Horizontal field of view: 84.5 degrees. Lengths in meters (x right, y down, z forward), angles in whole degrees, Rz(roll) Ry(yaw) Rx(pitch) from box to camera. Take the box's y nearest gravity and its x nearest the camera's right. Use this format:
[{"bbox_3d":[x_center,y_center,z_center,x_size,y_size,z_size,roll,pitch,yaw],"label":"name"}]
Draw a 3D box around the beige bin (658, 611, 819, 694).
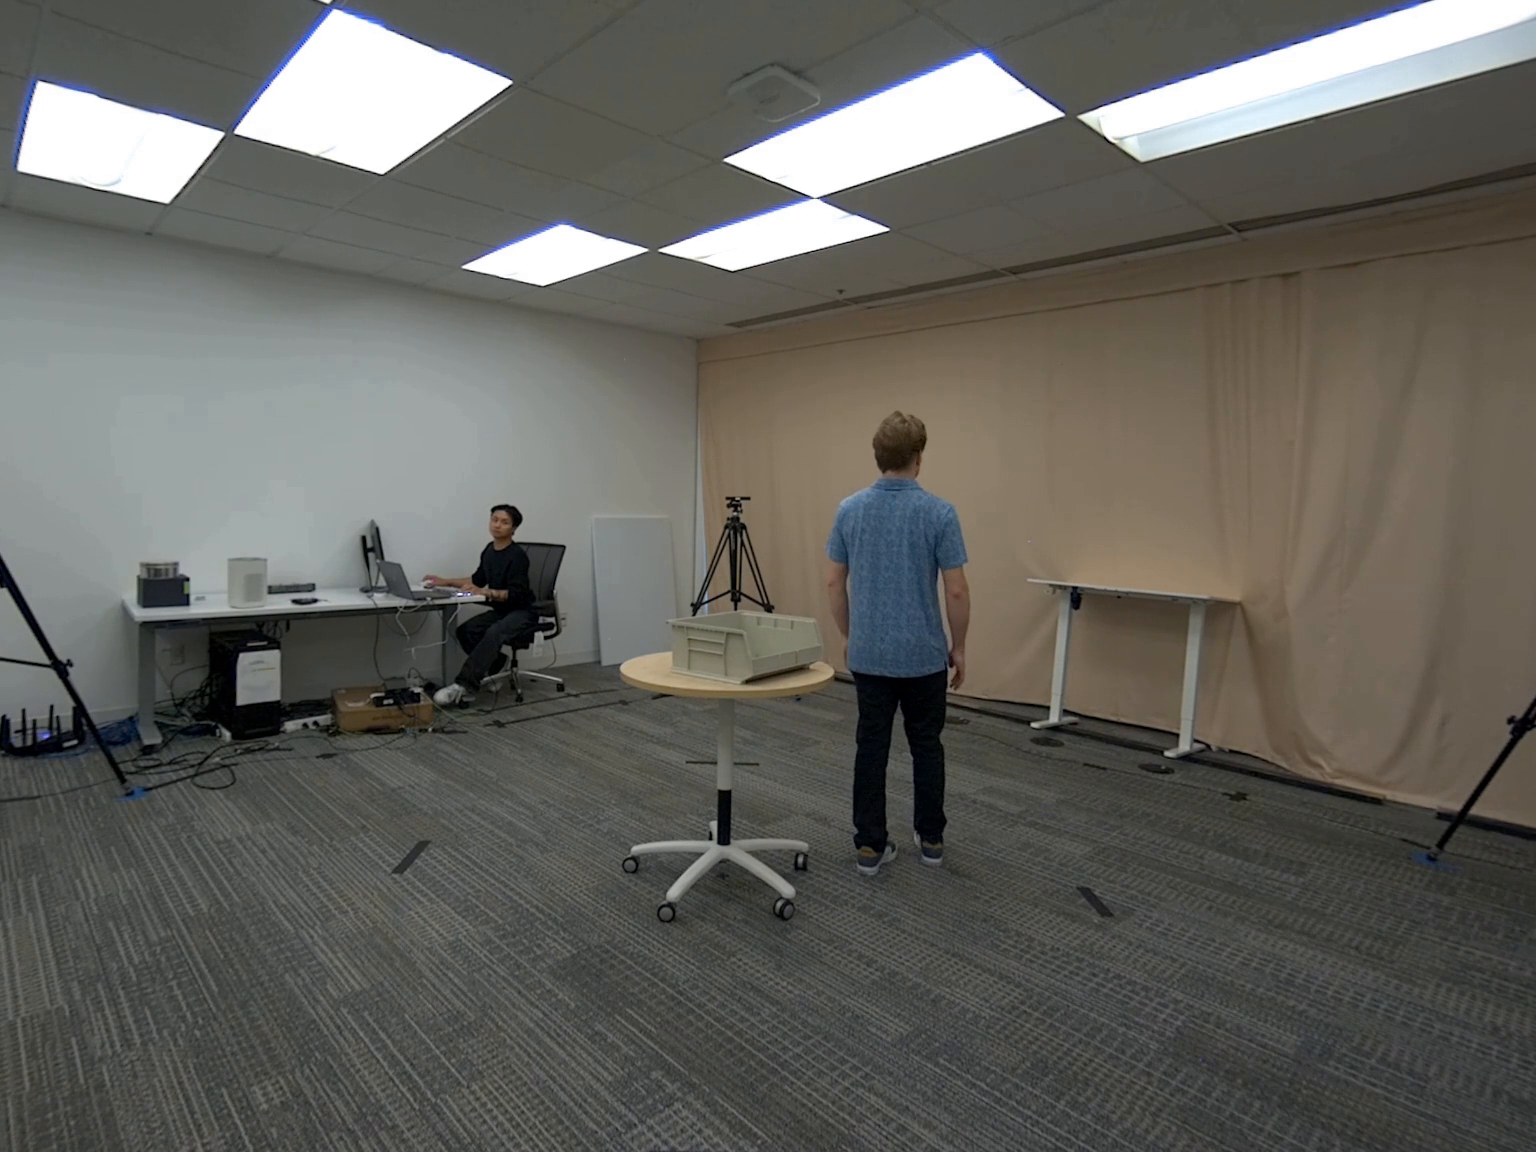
[{"bbox_3d":[-0.101,0.252,2.964,0.386,0.188,0.413,4,6,37],"label":"beige bin"}]
